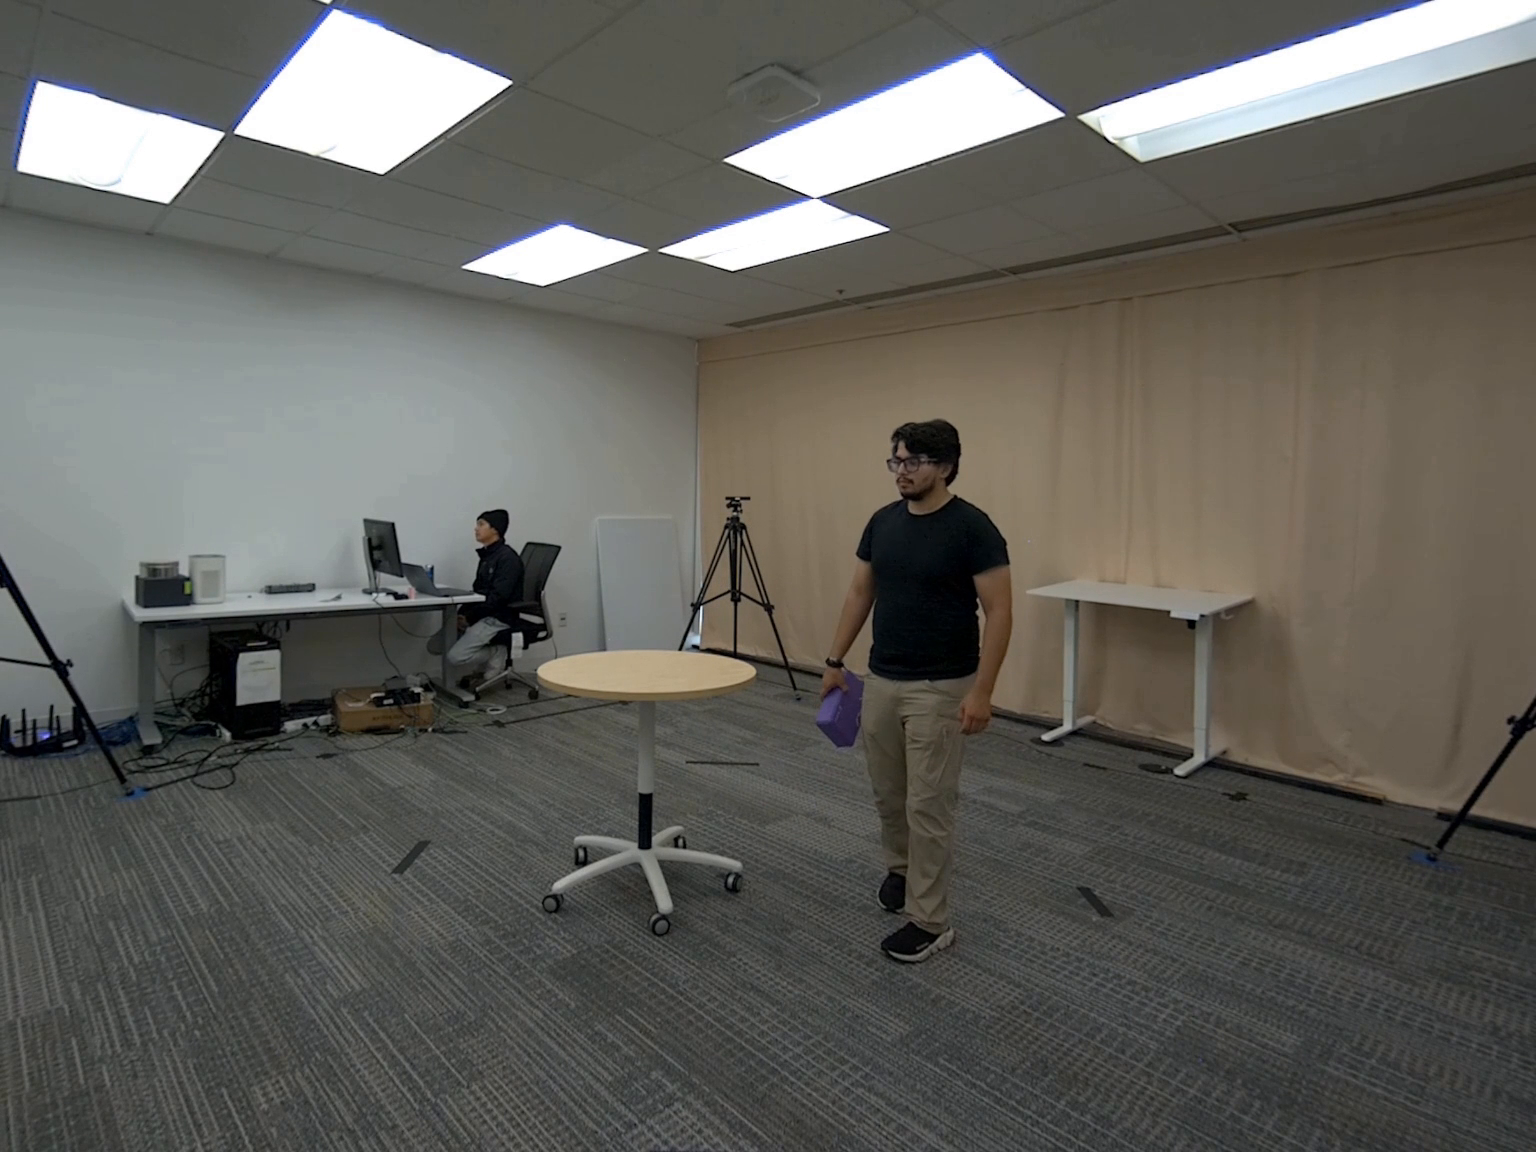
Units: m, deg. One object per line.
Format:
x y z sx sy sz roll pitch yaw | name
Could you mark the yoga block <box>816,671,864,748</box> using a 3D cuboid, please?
0.259 0.457 2.930 0.077 0.231 0.145 -18 -55 43 | yoga block
